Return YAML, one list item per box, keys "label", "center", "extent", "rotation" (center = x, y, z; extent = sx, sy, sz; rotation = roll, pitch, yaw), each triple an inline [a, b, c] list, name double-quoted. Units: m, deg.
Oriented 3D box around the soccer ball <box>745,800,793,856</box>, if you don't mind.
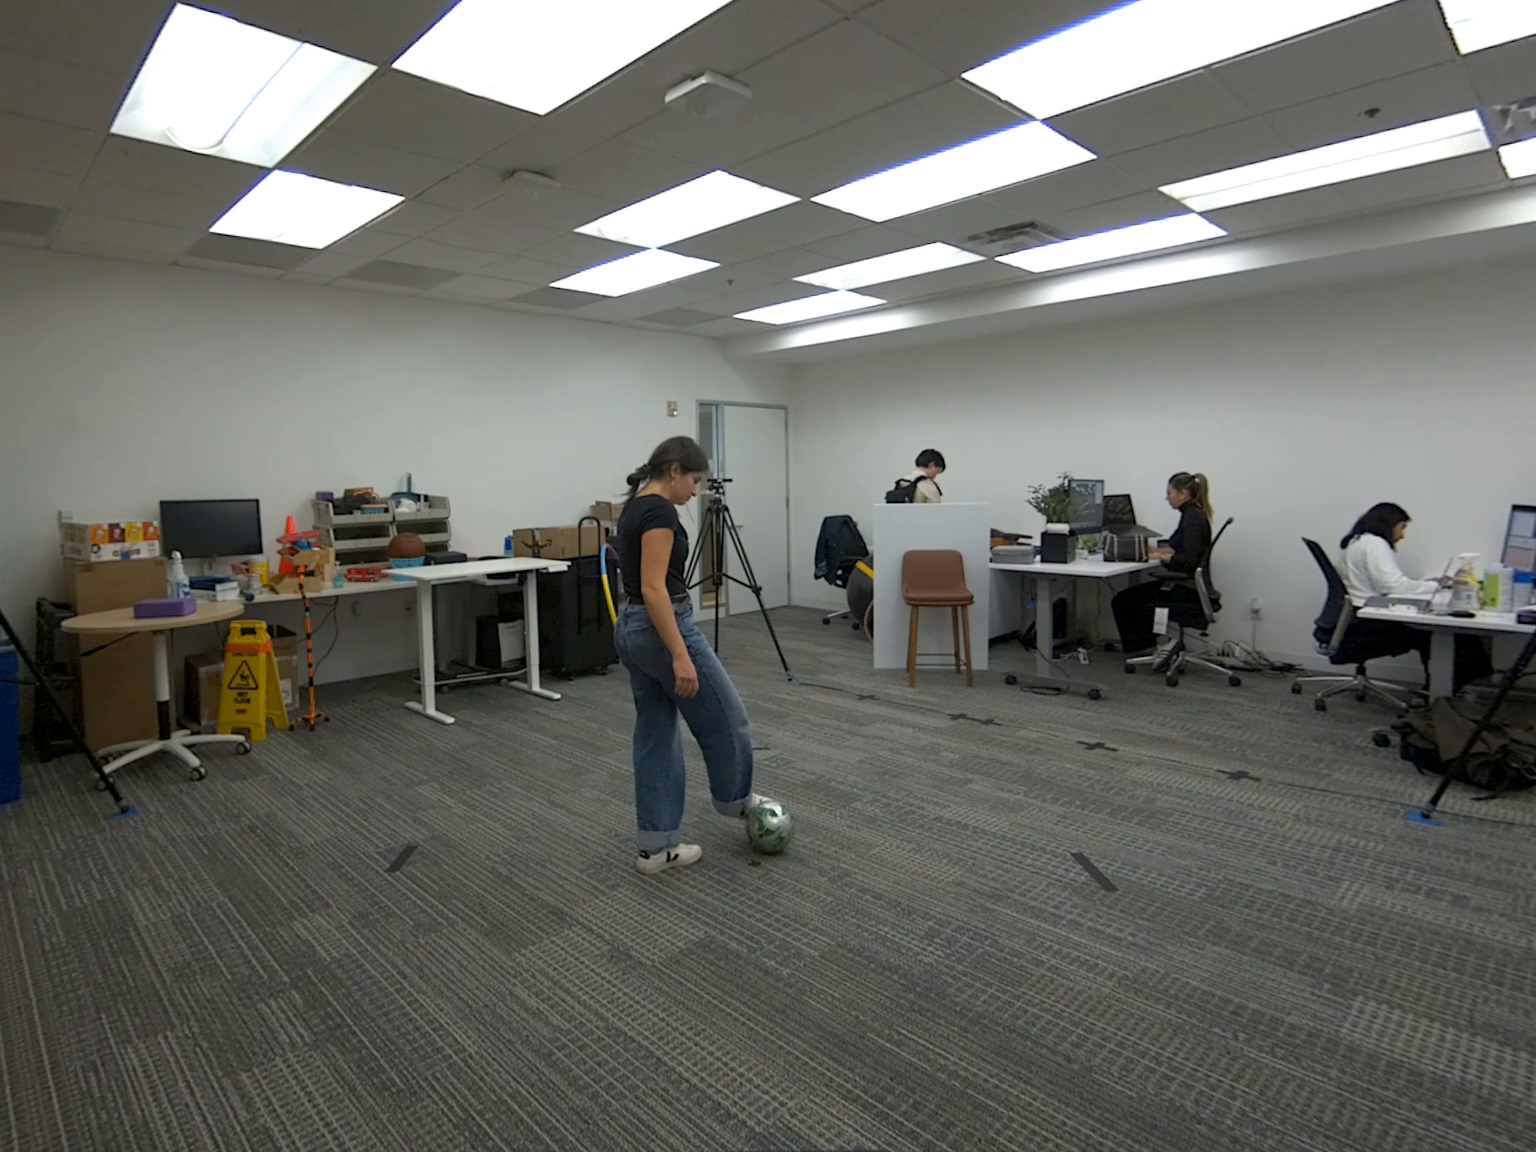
- label: "soccer ball"
  center: [0.006, 0.940, 3.195]
  extent: [0.187, 0.187, 0.188]
  rotation: [-1, 5, -2]
